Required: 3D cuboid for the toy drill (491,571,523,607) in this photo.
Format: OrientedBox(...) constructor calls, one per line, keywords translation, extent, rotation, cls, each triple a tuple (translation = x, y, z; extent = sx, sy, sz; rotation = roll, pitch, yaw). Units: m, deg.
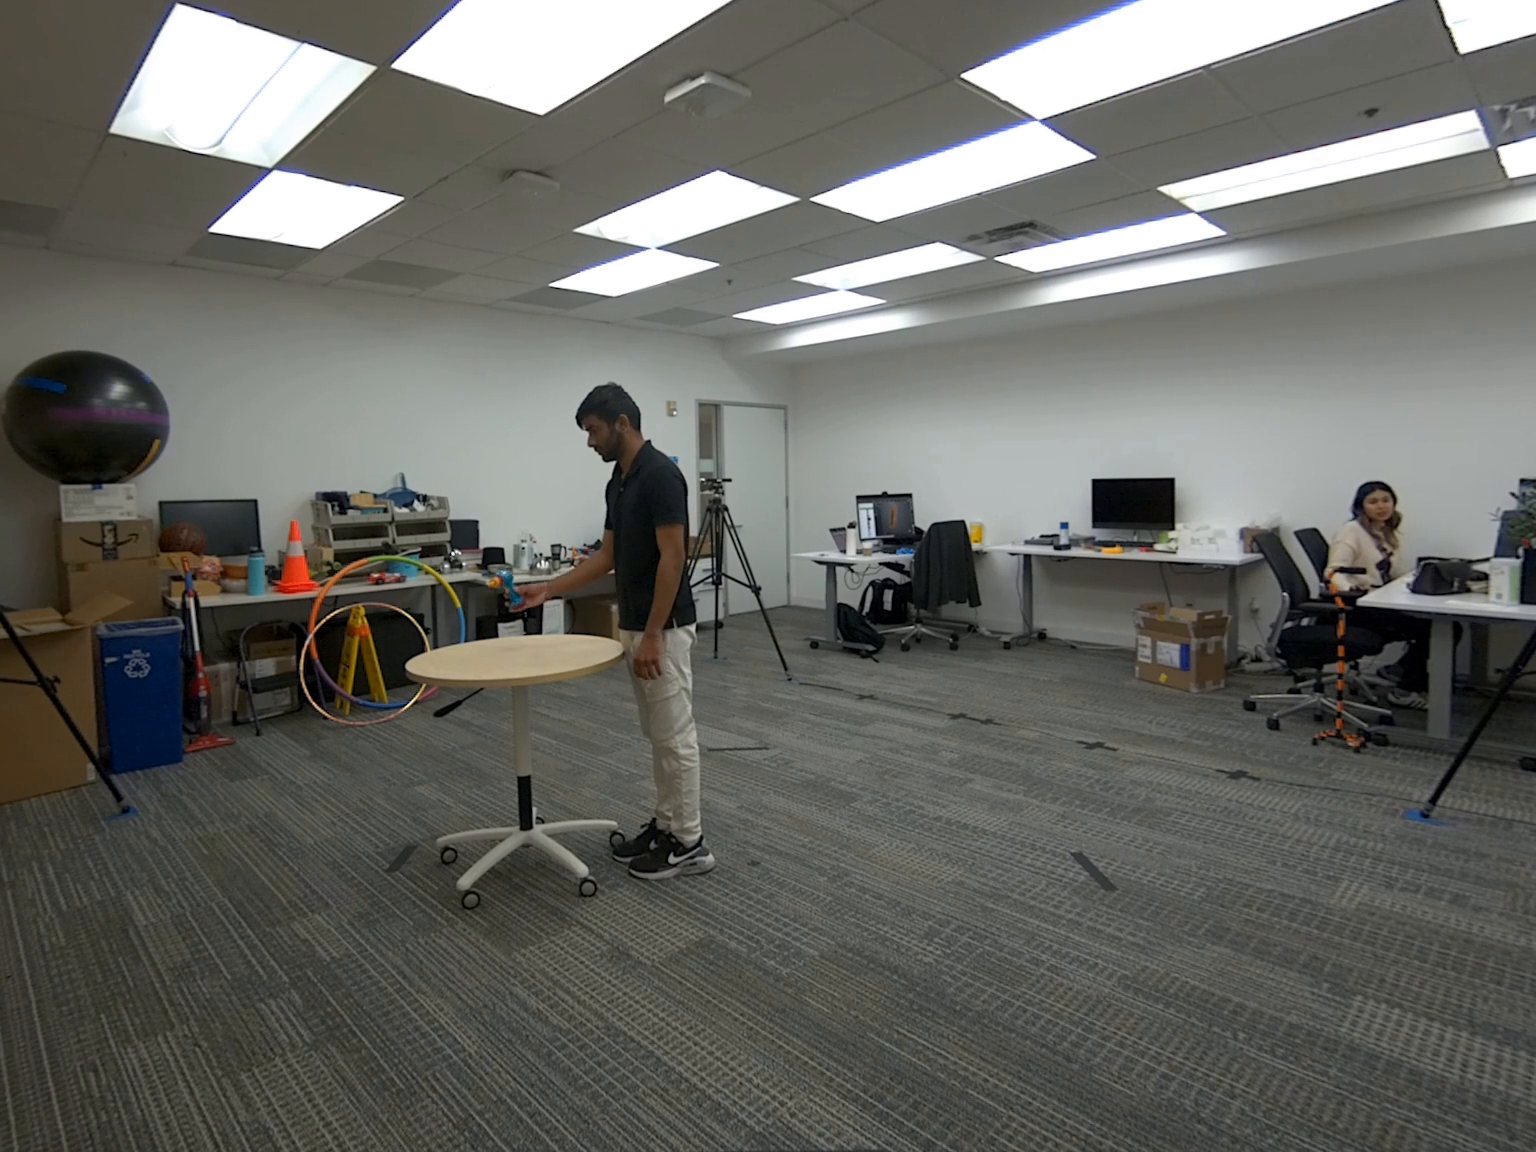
OrientedBox(translation=(-0.953, 0.060, 3.082), extent=(0.062, 0.146, 0.168), rotation=(-24, 2, 17), cls="toy drill")
